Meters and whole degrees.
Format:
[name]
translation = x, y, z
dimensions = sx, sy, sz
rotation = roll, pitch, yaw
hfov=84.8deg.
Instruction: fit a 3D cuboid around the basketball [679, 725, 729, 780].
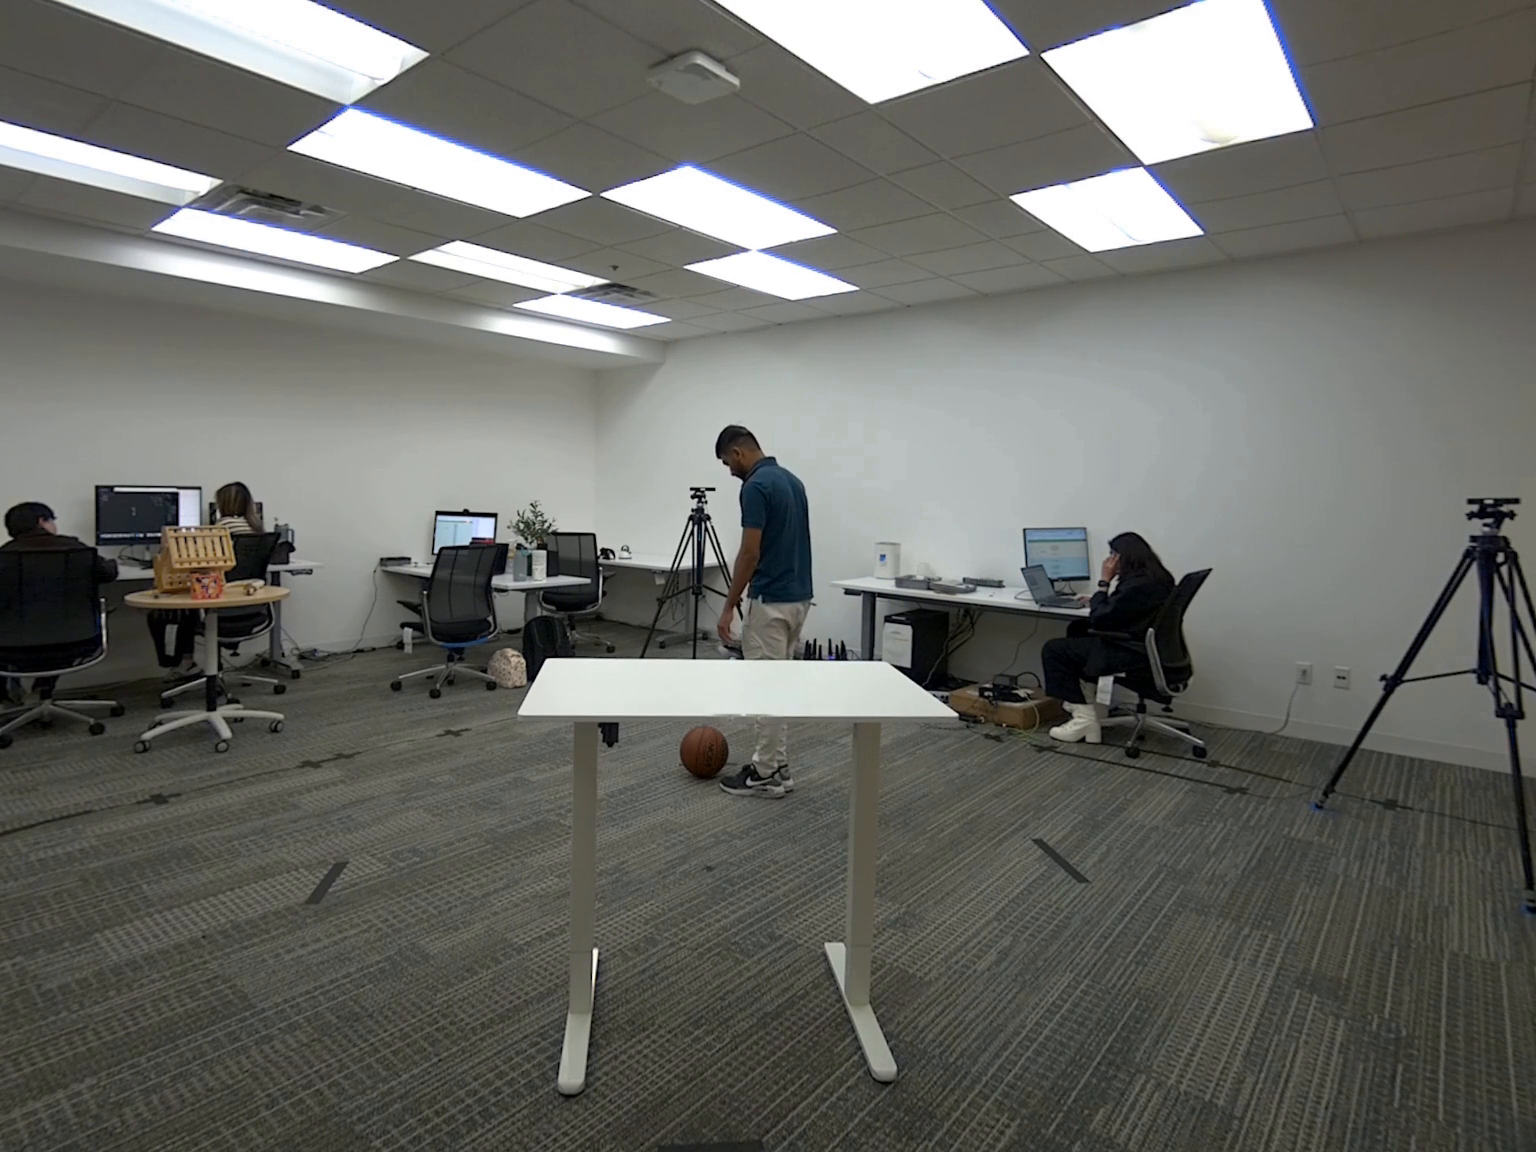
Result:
[basketball]
translation = -0.319, 0.845, 4.129
dimensions = 0.235, 0.235, 0.237
rotation = 1, 4, -2
